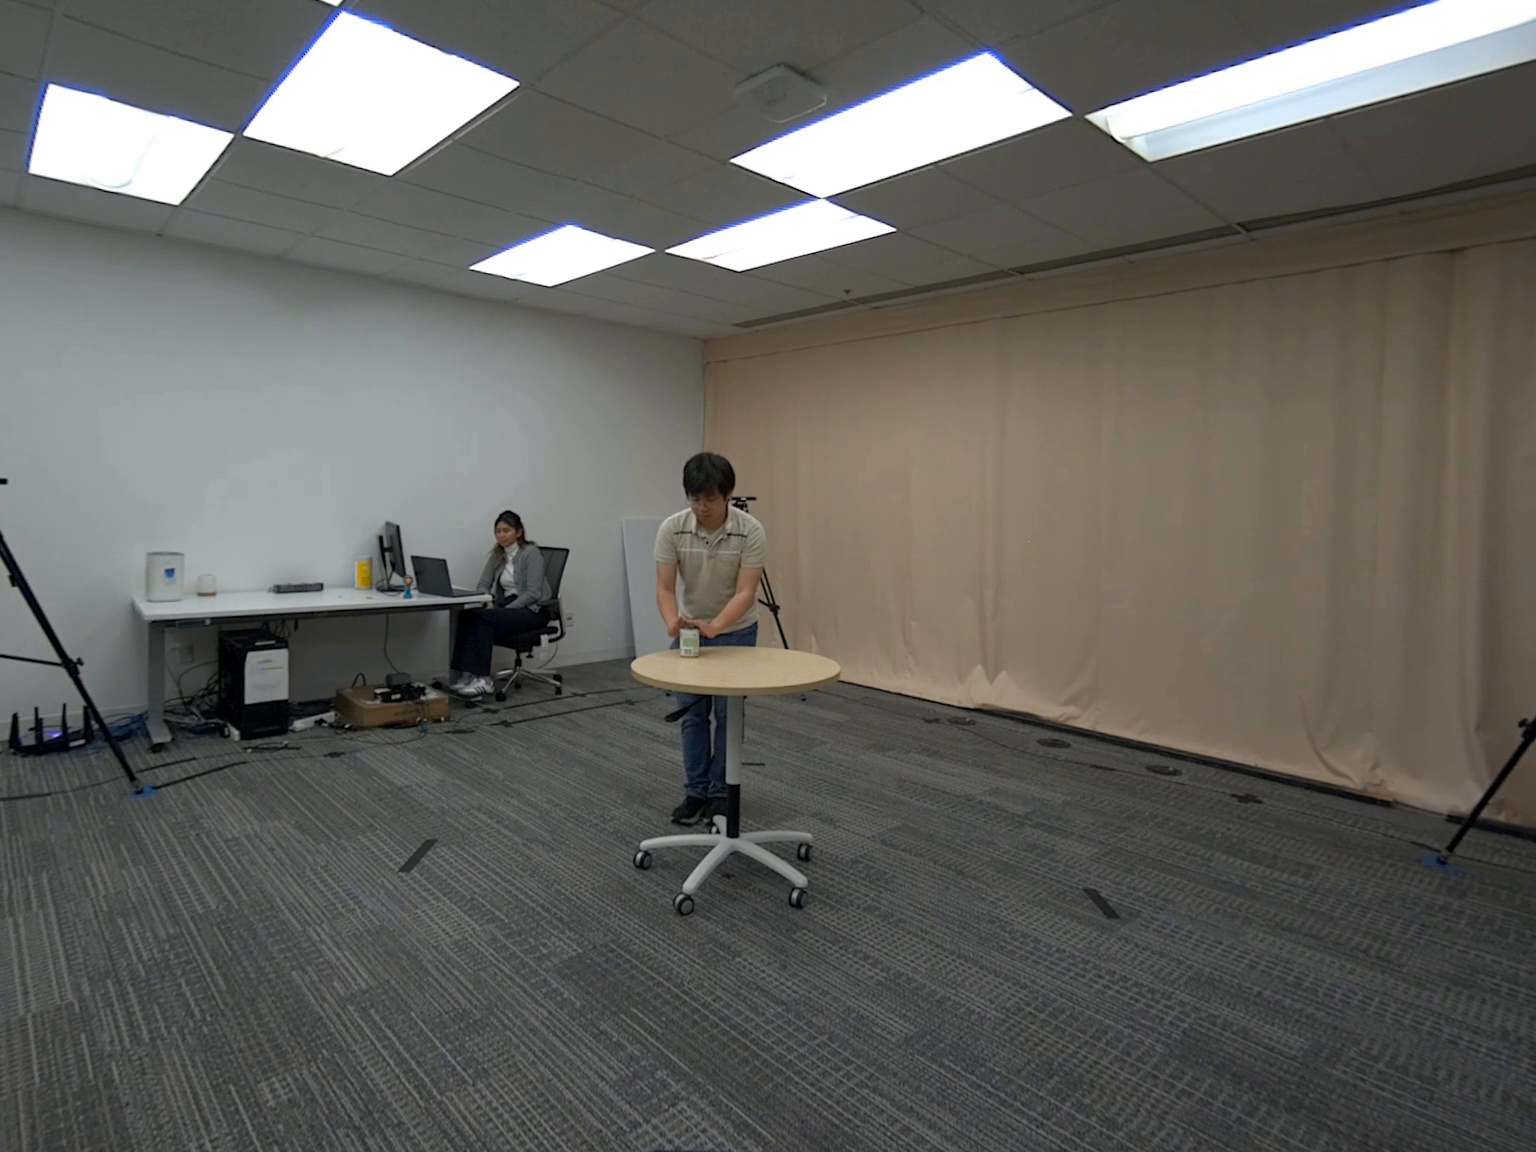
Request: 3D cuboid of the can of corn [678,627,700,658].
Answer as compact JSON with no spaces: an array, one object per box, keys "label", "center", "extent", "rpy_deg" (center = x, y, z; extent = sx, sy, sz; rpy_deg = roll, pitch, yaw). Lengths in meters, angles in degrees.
[{"label":"can of corn","center":[-0.325,0.259,3.234],"extent":[0.074,0.111,0.074],"rpy_deg":[0,2,-1]}]
